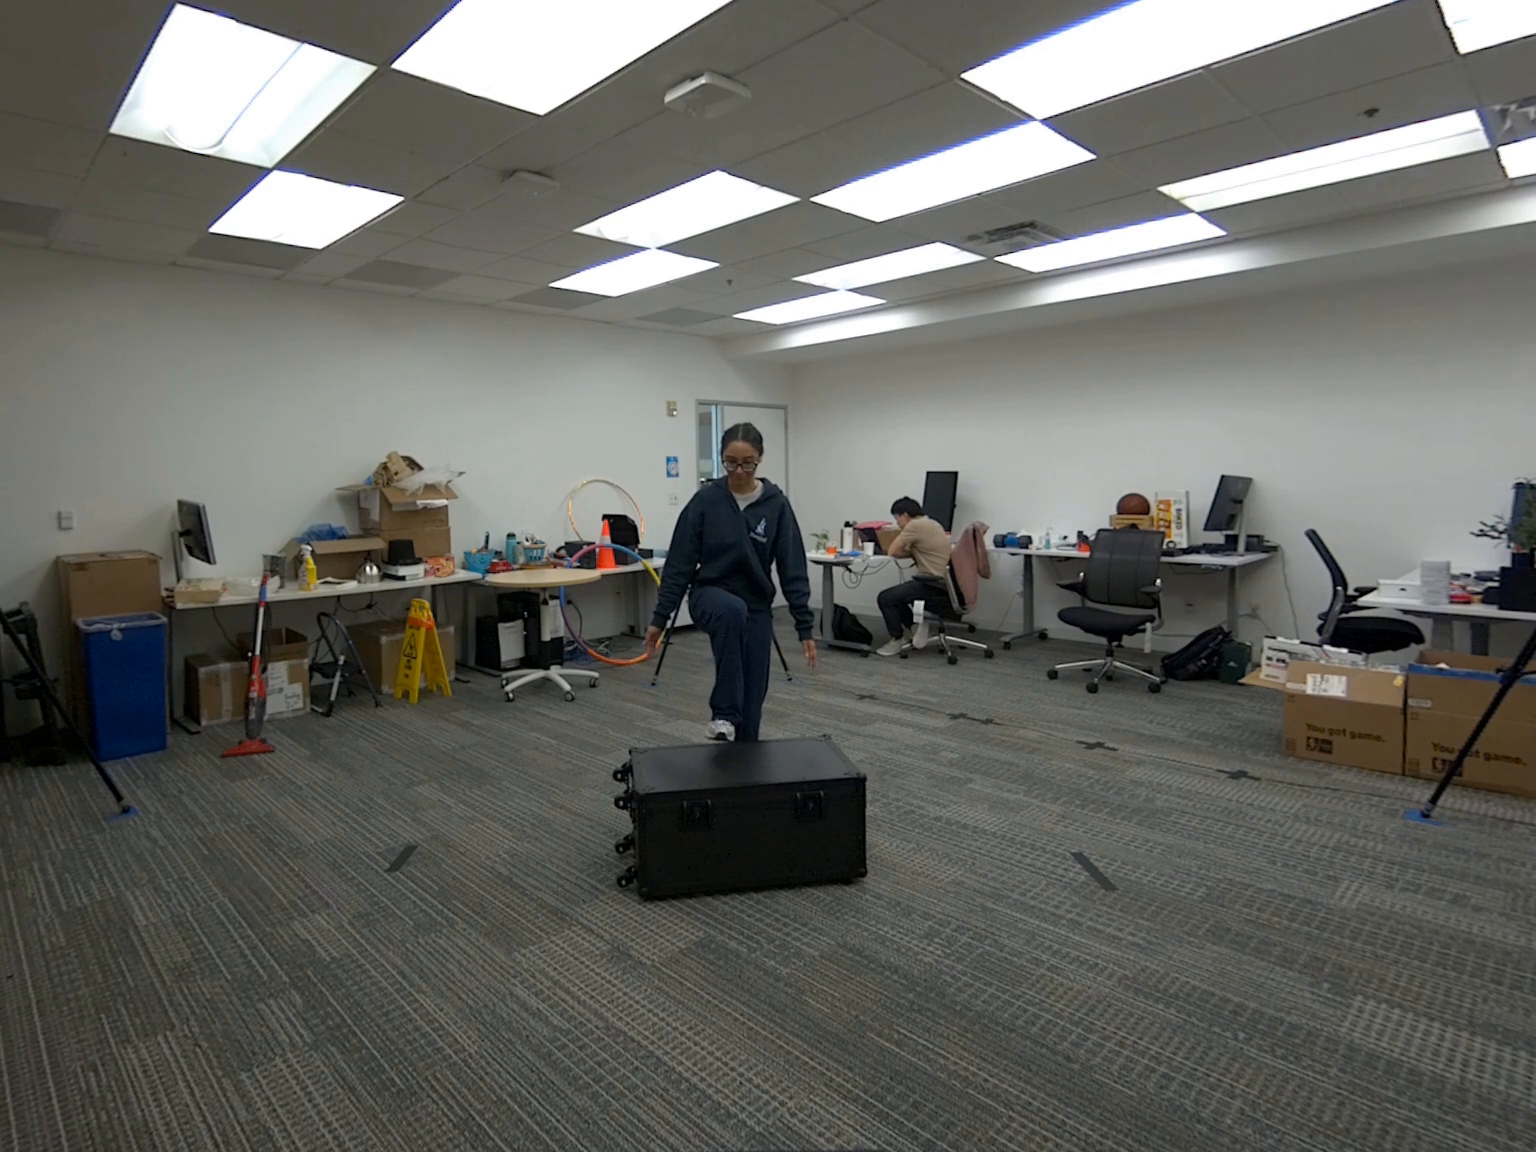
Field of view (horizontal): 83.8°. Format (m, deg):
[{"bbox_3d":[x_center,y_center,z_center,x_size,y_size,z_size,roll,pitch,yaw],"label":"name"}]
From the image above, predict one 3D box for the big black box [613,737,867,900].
[{"bbox_3d":[-0.126,0.855,3.095,0.854,0.395,0.528,-2,5,-10],"label":"big black box"}]
